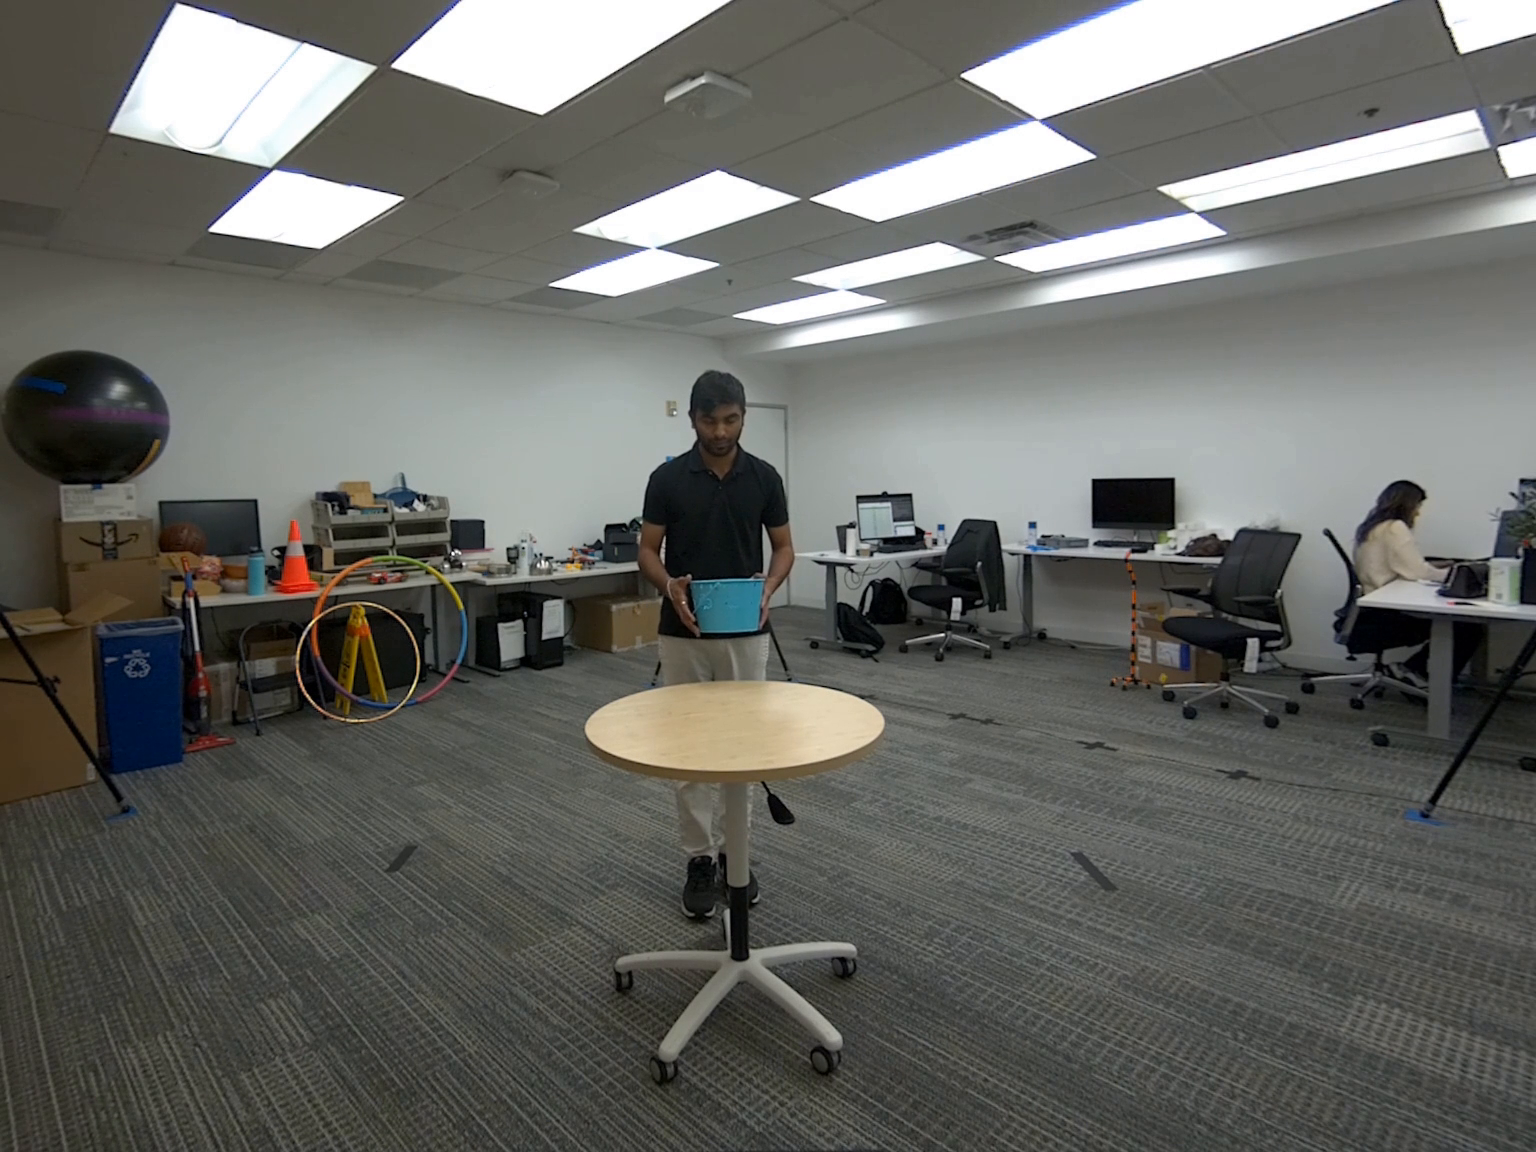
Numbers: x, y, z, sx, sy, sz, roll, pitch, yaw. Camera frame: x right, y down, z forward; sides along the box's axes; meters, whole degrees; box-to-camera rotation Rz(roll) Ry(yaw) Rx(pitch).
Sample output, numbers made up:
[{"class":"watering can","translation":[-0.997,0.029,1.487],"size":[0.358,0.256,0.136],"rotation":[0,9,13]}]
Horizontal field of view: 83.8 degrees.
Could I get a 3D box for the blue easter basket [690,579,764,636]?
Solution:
[{"class":"blue easter basket","translation":[-0.107,0.086,2.594],"size":[0.243,0.156,0.244],"rotation":[-2,2,-2]}]
